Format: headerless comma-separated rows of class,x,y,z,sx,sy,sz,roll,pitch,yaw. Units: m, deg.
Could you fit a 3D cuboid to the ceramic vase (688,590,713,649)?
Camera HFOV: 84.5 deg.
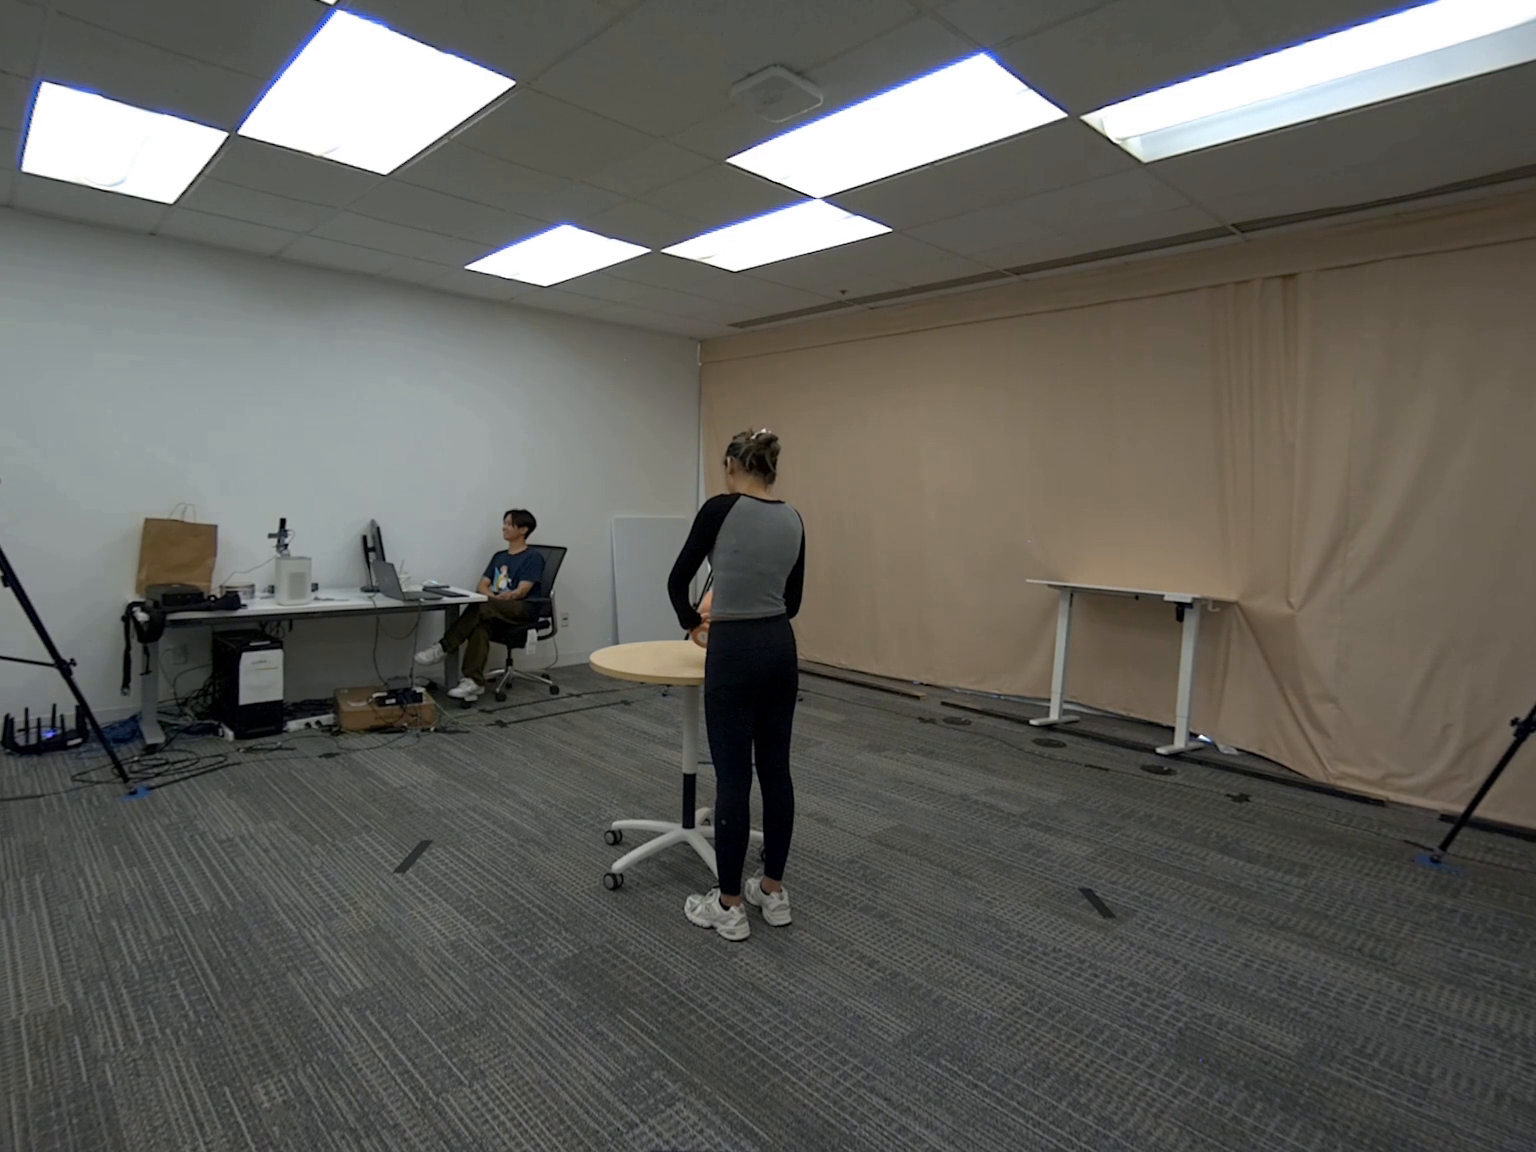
ceramic vase,-0.209,0.161,3.090,0.136,0.156,0.222,-30,20,30
